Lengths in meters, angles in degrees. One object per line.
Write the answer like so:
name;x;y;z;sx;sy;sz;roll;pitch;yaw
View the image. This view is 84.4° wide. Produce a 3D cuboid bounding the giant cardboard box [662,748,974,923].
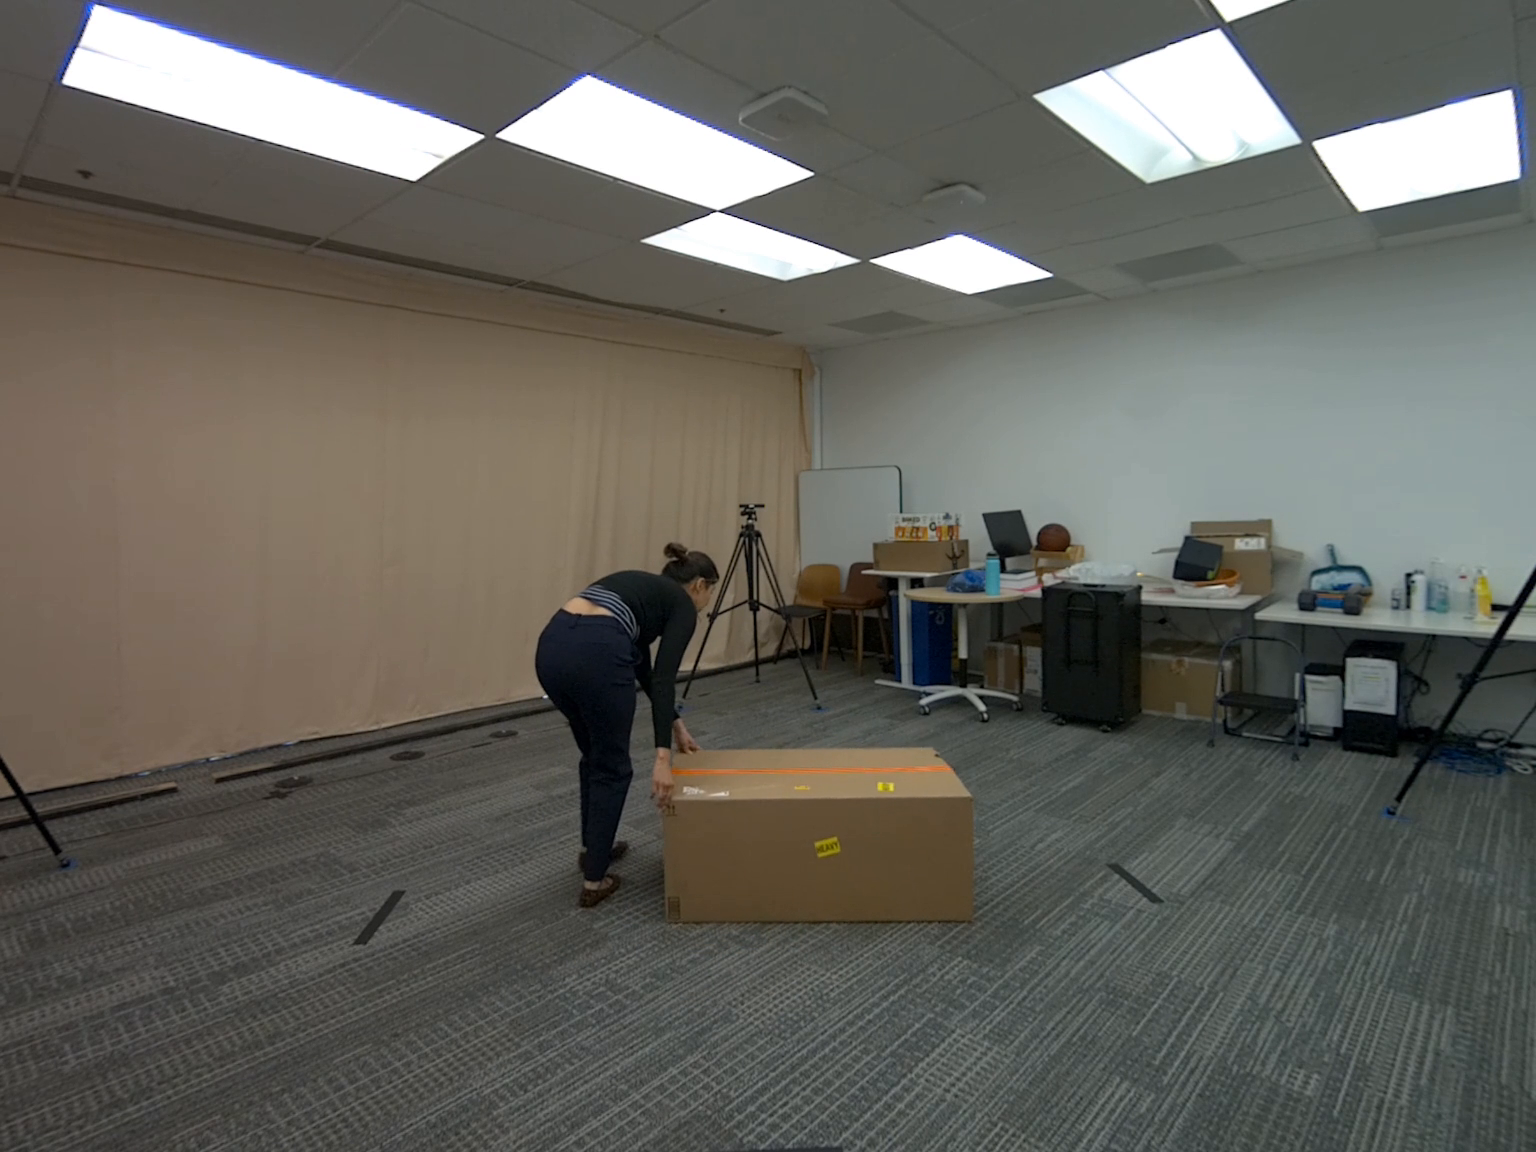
giant cardboard box;0.160;0.913;3.068;1.027;0.425;0.579;-1;5;0
